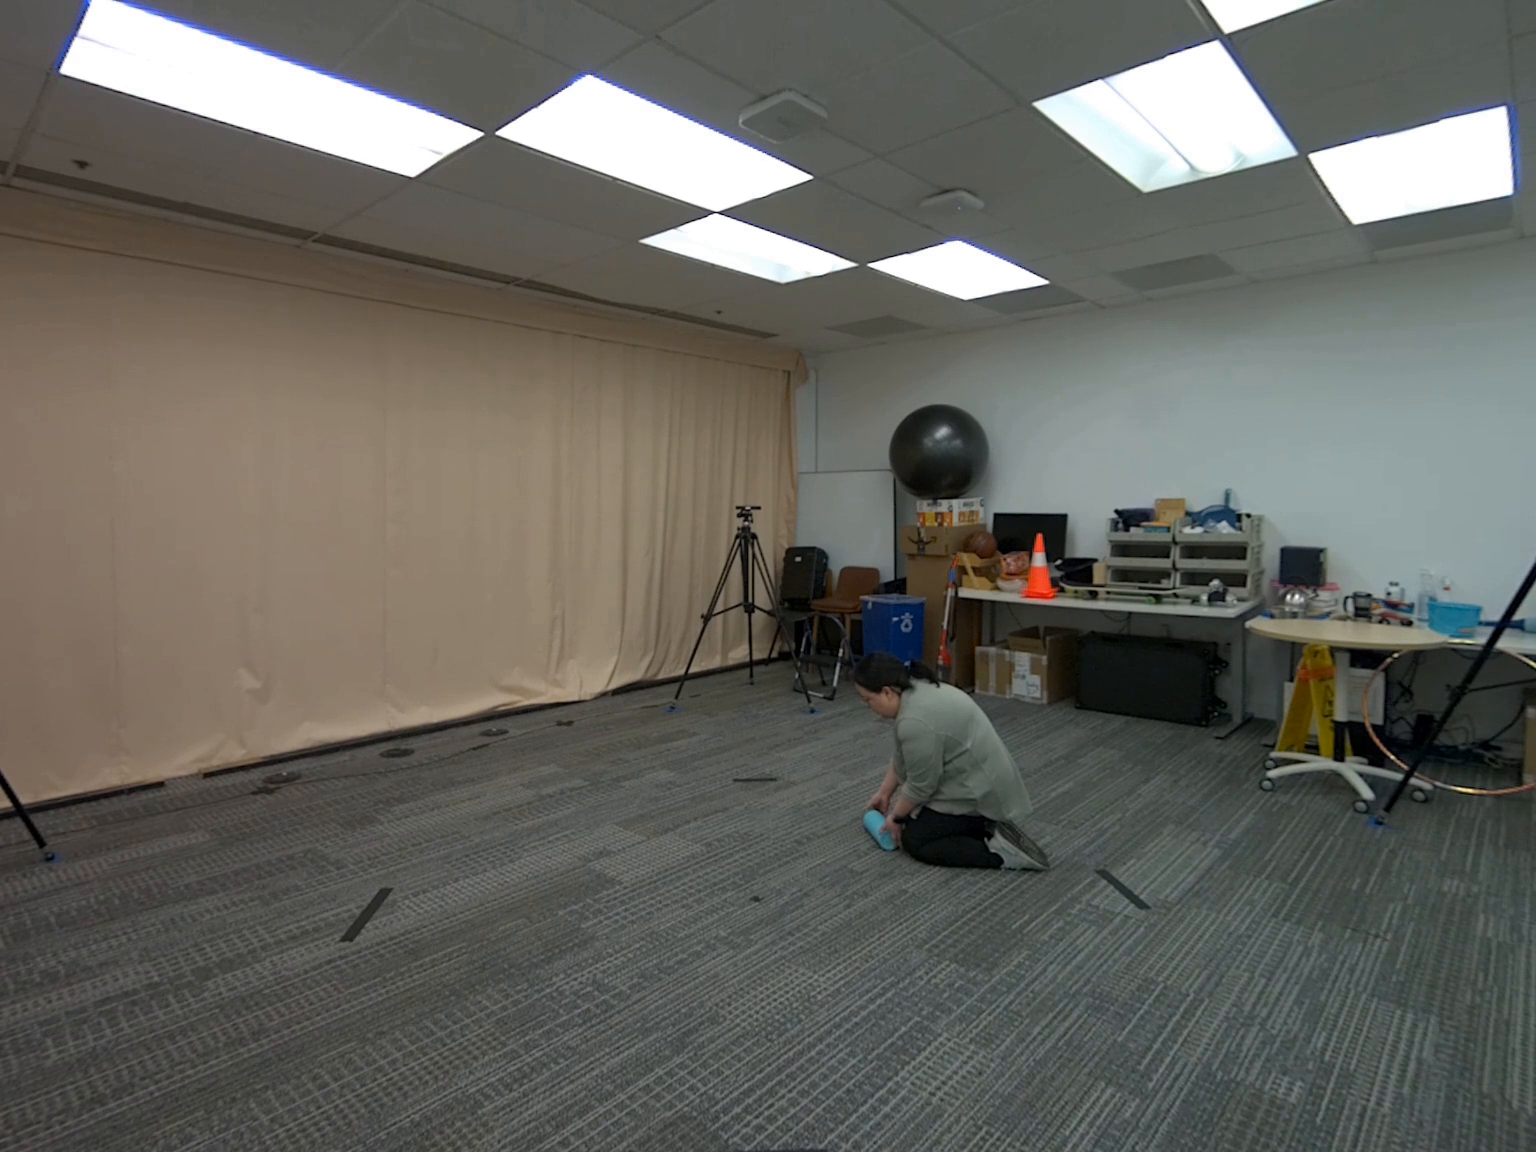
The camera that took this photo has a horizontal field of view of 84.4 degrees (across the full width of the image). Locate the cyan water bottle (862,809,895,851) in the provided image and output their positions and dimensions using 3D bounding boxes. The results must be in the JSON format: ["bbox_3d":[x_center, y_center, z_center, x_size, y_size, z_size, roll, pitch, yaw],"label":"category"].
[{"bbox_3d":[0.469,1.059,3.542,0.091,0.092,0.286,-1,2,-10],"label":"cyan water bottle"}]
